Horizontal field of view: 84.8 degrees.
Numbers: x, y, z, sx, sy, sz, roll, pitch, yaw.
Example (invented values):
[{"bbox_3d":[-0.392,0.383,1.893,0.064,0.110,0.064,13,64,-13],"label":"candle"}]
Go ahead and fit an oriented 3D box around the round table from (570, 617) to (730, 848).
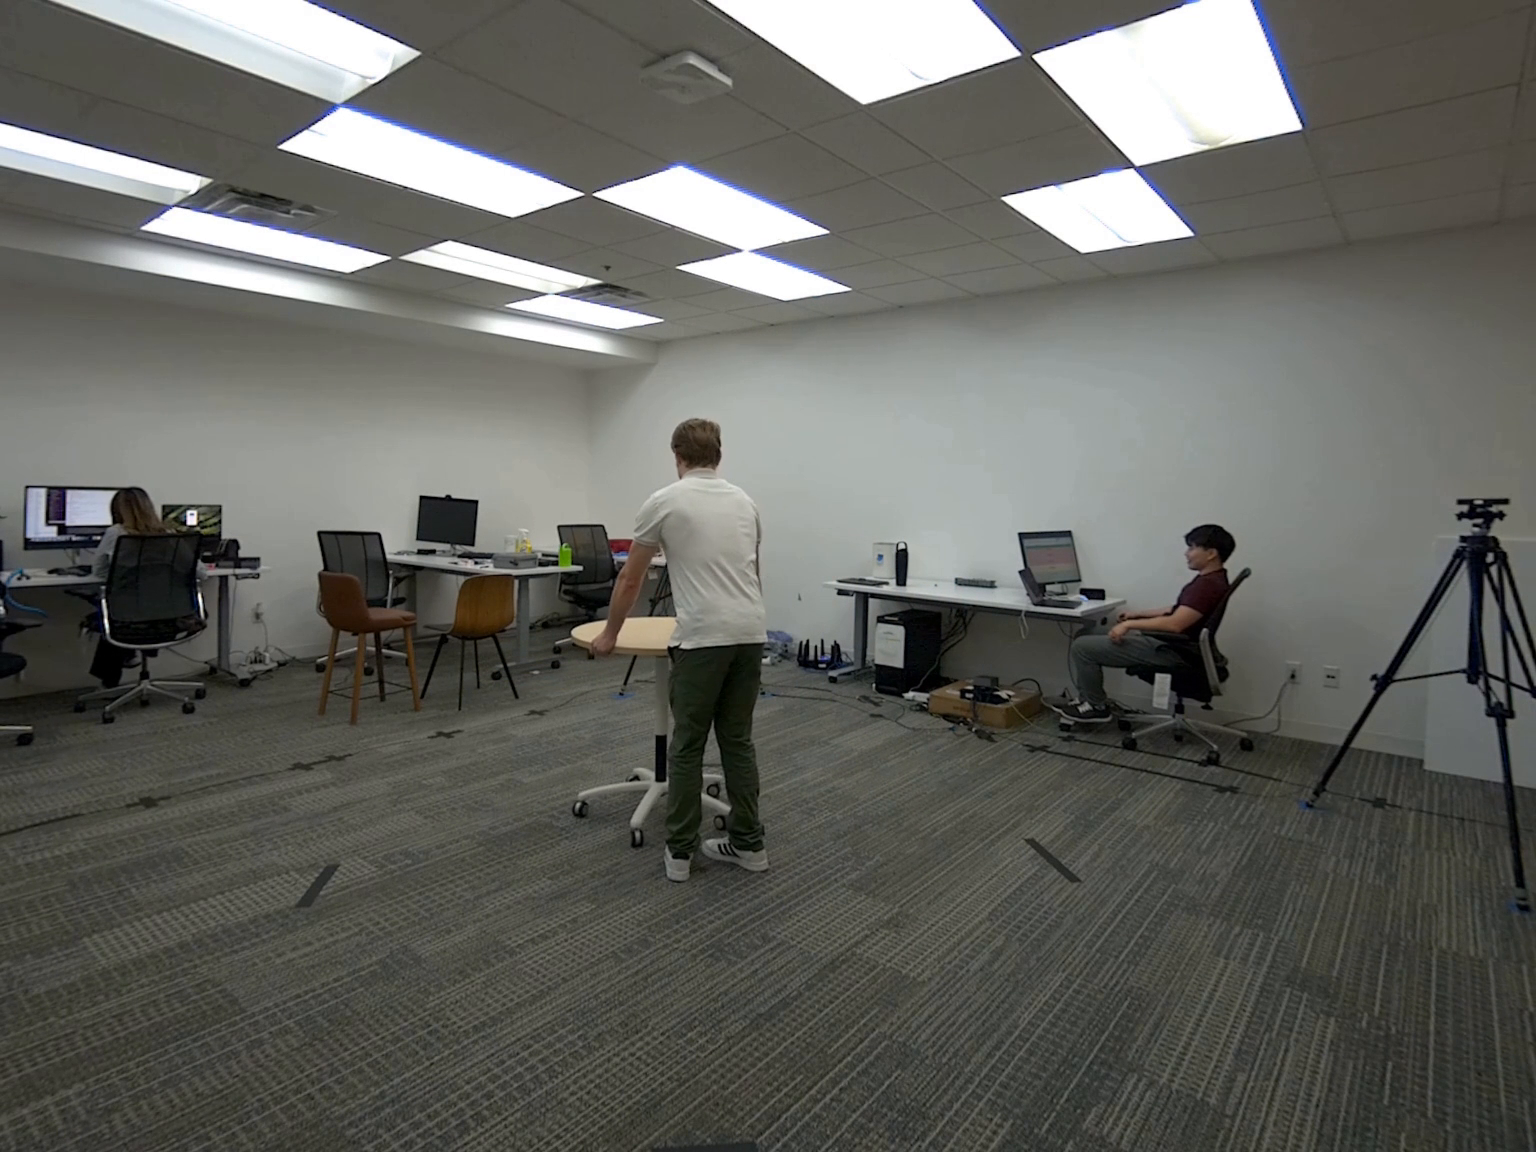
[{"bbox_3d":[-0.465,0.624,3.622,0.763,0.791,0.768,1,4,-2],"label":"round table"}]
